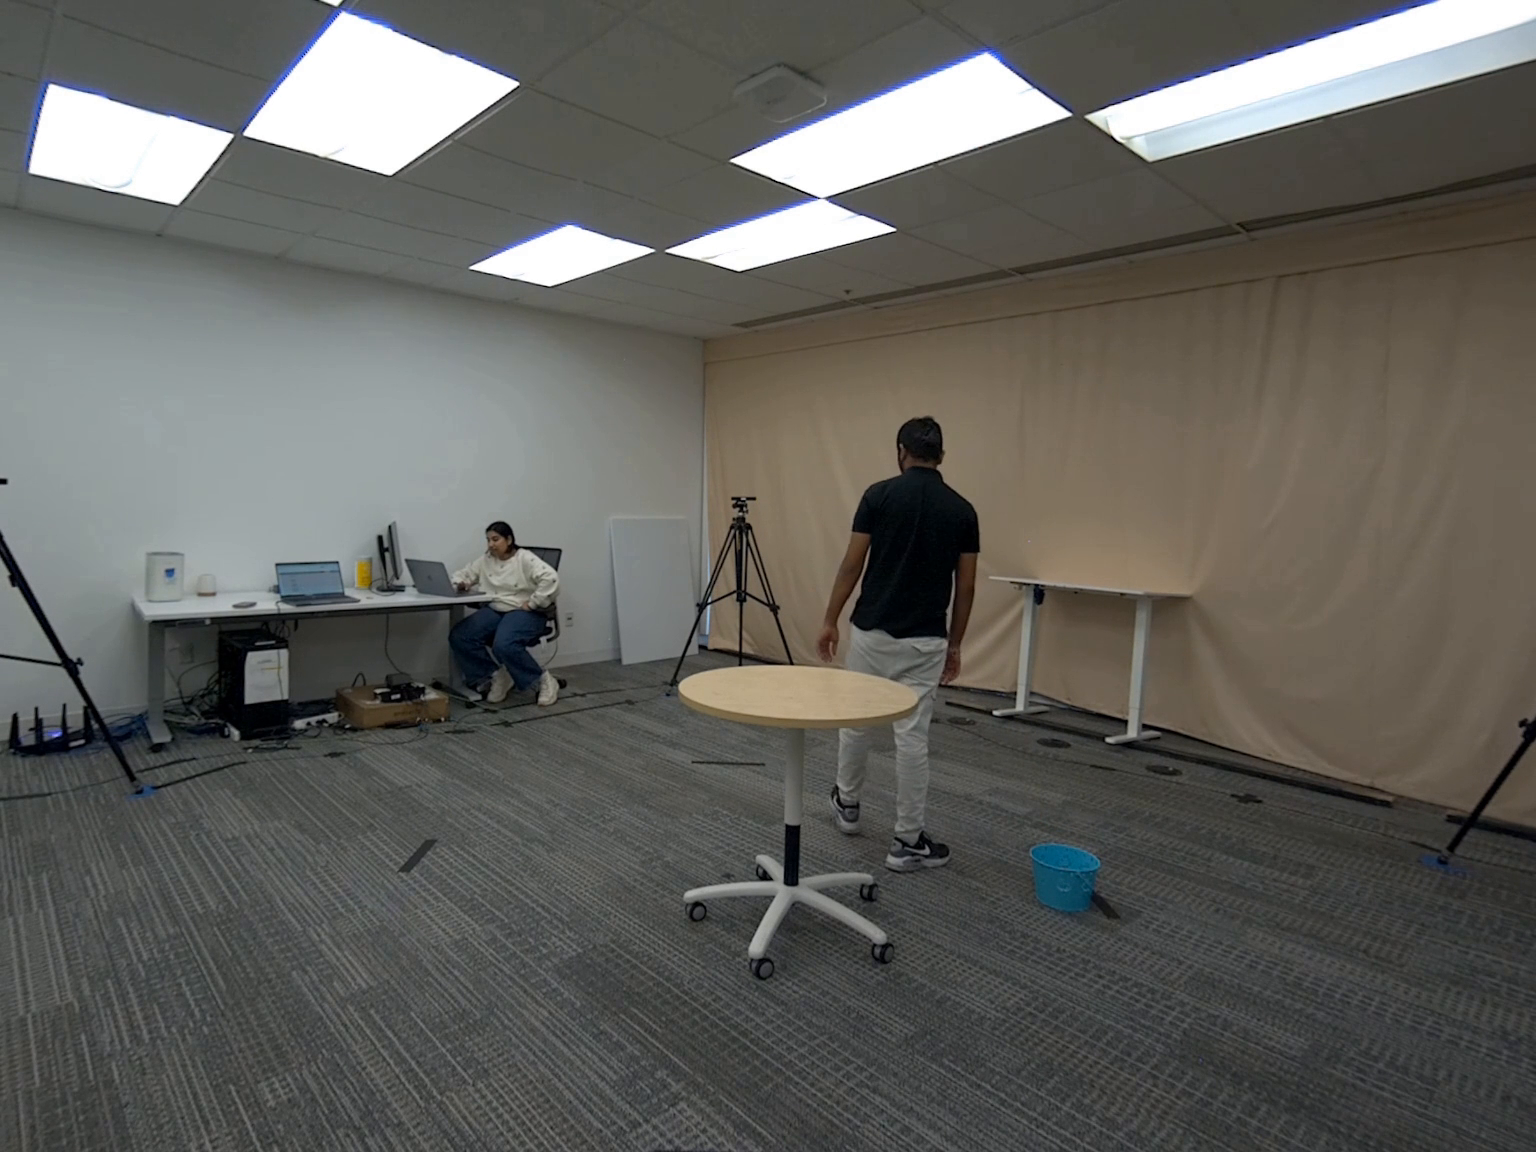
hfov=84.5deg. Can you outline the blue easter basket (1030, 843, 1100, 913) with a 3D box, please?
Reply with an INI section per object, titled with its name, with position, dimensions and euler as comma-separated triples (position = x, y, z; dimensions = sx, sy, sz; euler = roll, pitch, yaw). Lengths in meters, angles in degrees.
[blue easter basket]
position = 1.044, 1.071, 2.988
dimensions = 0.243, 0.155, 0.244
euler = 1, 4, -1
